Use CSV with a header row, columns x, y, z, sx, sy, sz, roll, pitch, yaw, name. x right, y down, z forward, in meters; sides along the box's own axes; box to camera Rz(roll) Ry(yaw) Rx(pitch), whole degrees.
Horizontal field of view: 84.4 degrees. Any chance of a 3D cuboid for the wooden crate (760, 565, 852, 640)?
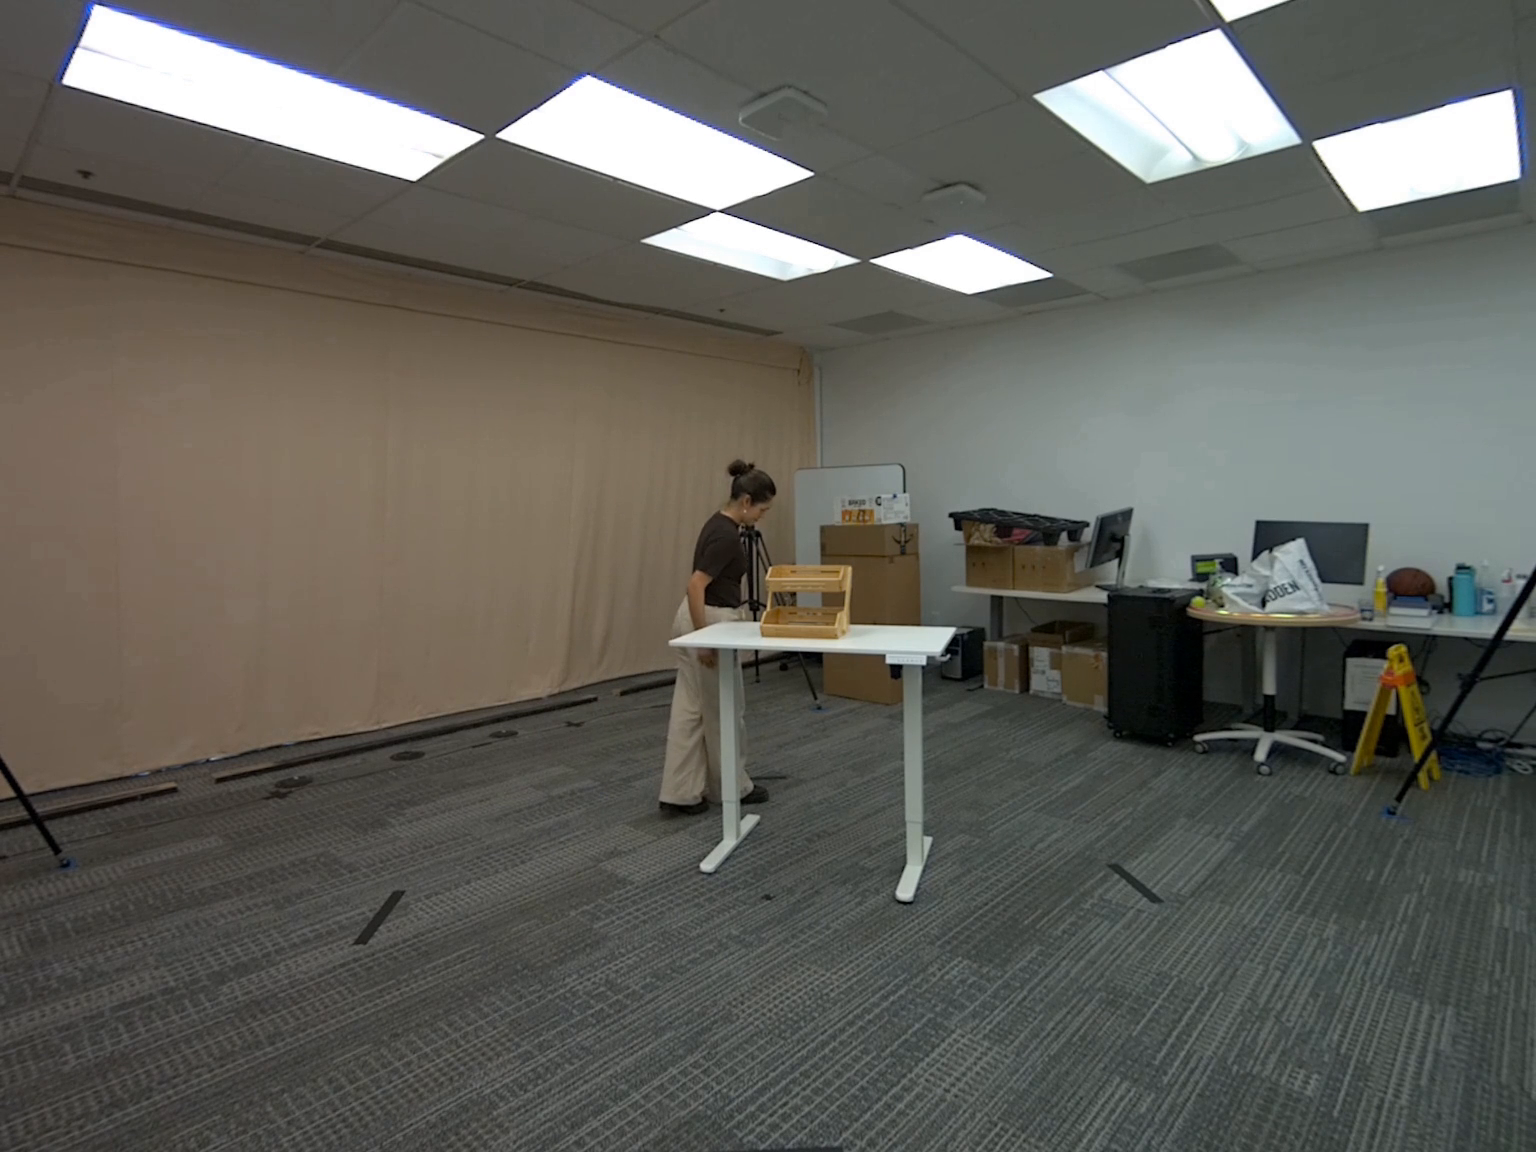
x,y,z,sx,sy,sz,roll,pitch,yaw,name
0.156,0.094,3.315,0.331,0.273,0.297,0,3,18,wooden crate
